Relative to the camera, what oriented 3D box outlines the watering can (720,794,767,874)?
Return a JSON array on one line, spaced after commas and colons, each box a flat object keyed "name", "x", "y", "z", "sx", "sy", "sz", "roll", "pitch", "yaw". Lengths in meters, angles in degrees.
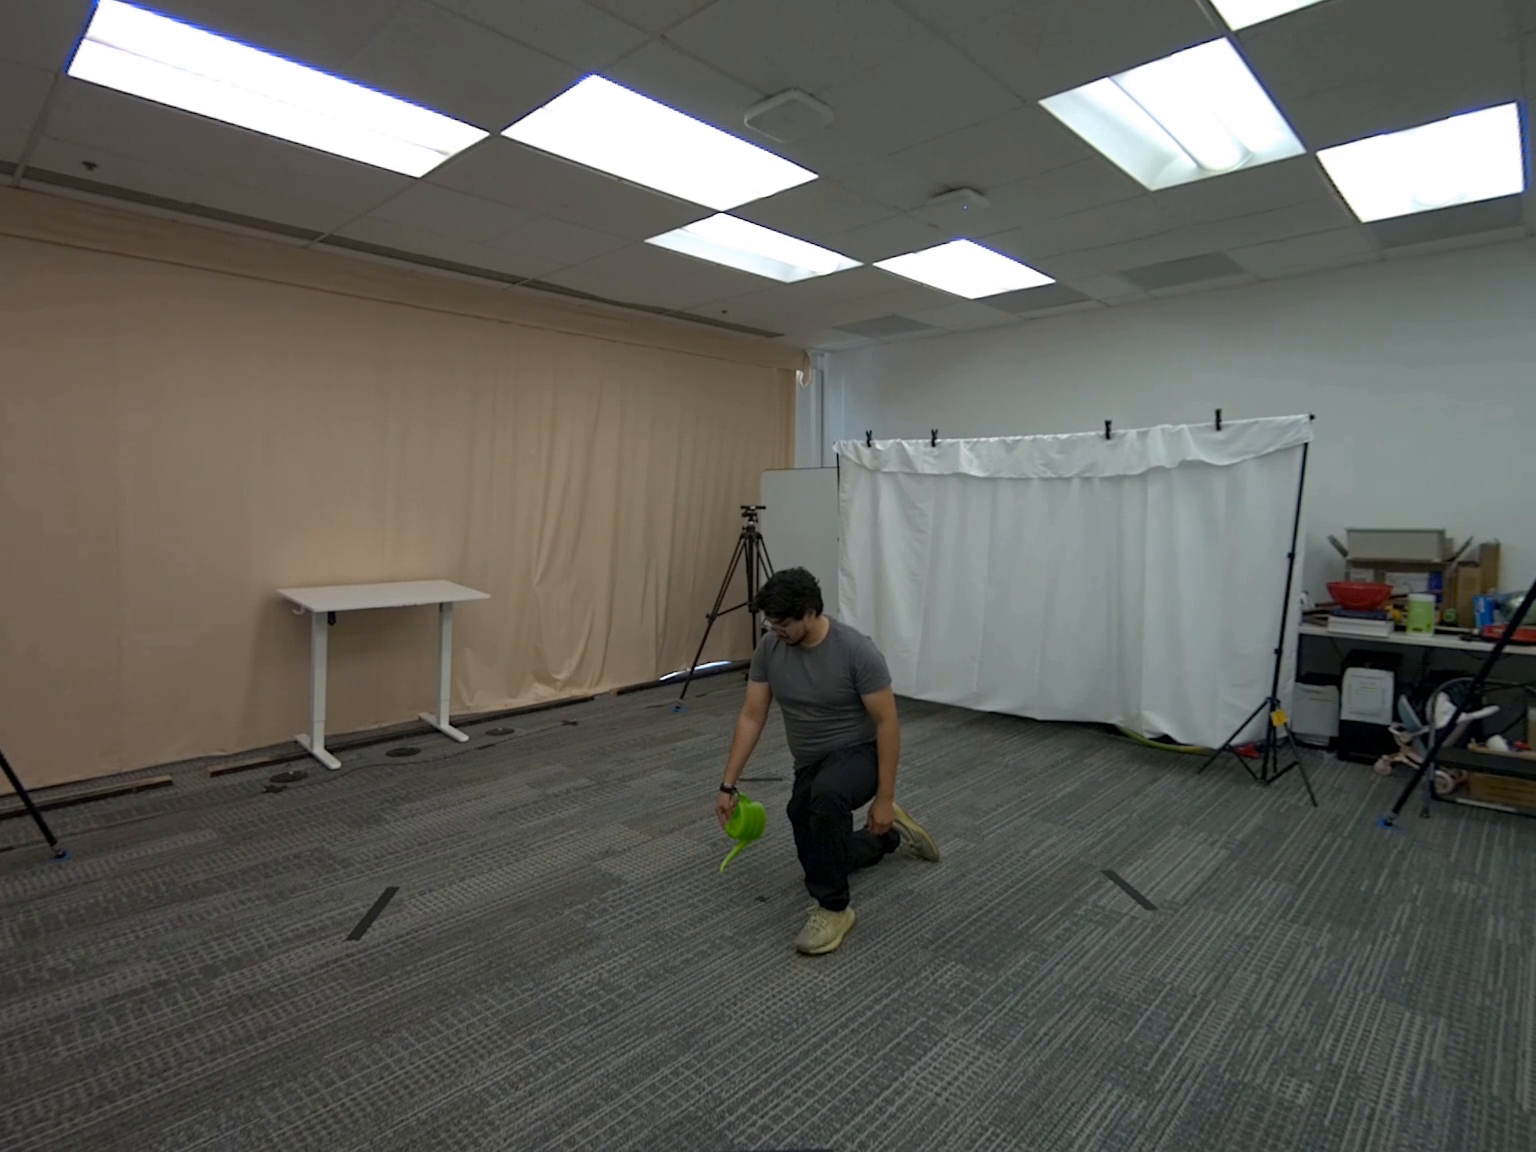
[{"name": "watering can", "x": -0.103, "y": 0.942, "z": 3.089, "sx": 0.101, "sy": 0.278, "sz": 0.170, "roll": 13, "pitch": -5, "yaw": 43}]
